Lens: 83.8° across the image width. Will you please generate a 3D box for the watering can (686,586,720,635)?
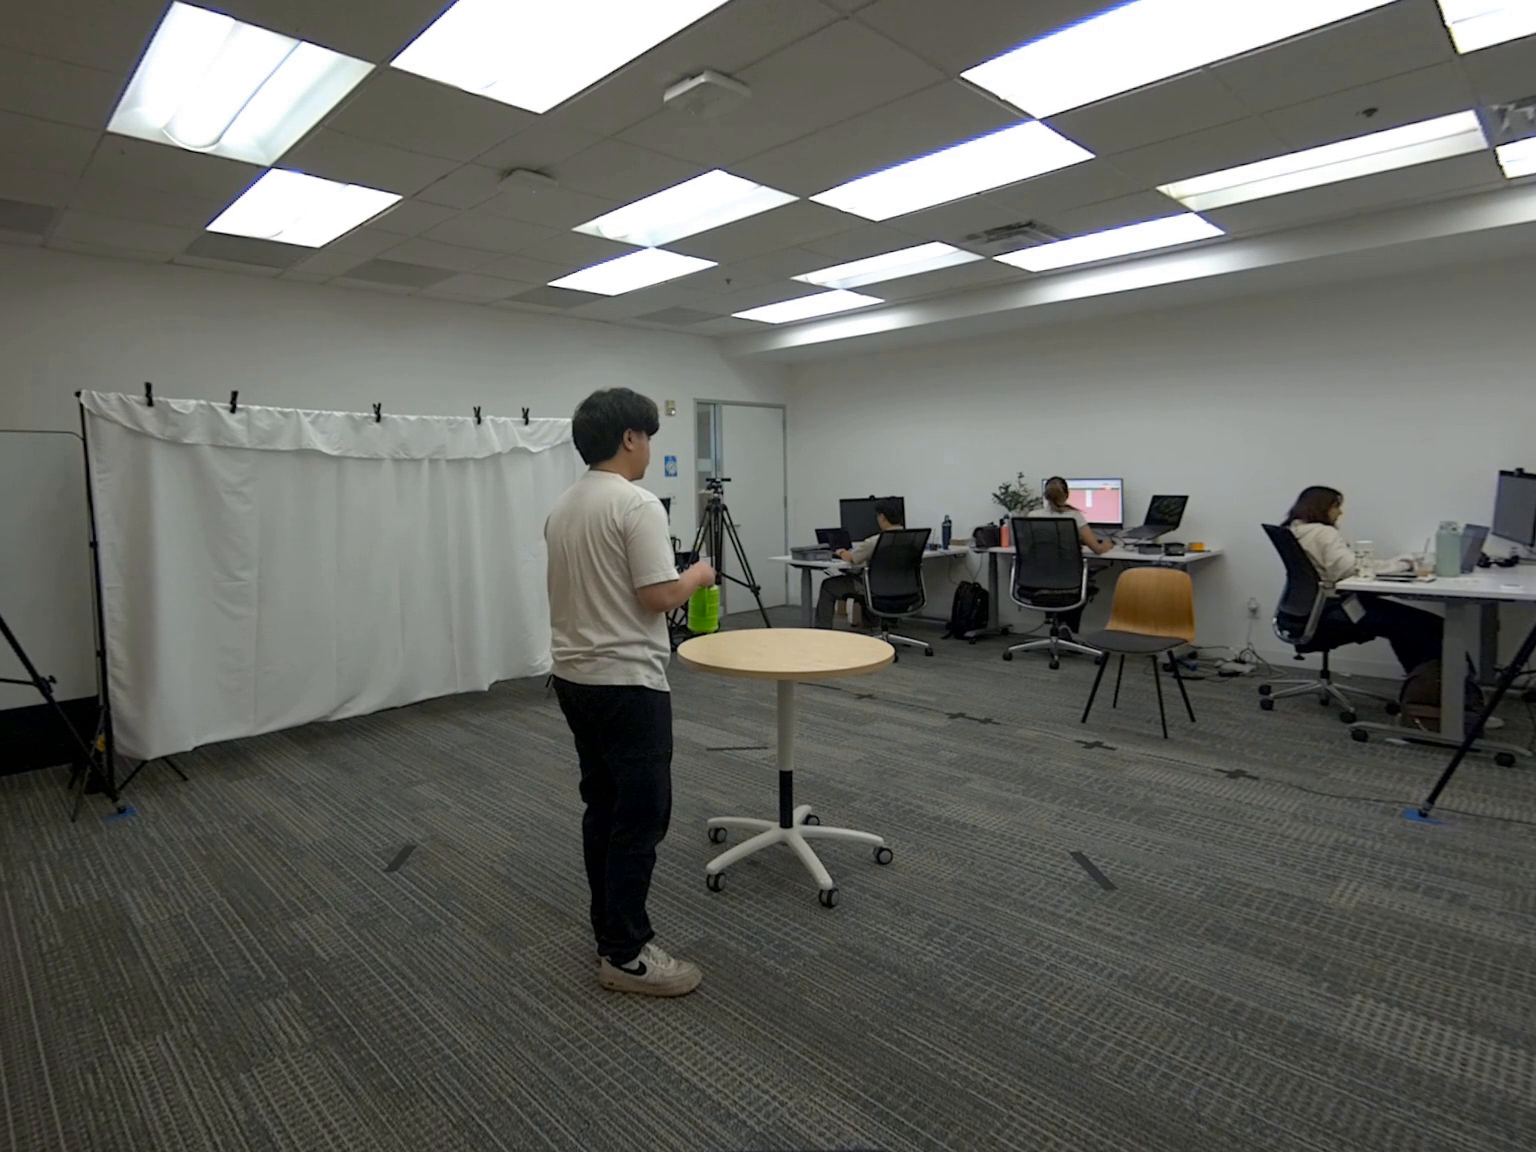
[{"bbox_3d":[-0.192,0.075,2.704,0.099,0.175,0.278,3,10,5],"label":"watering can"}]
